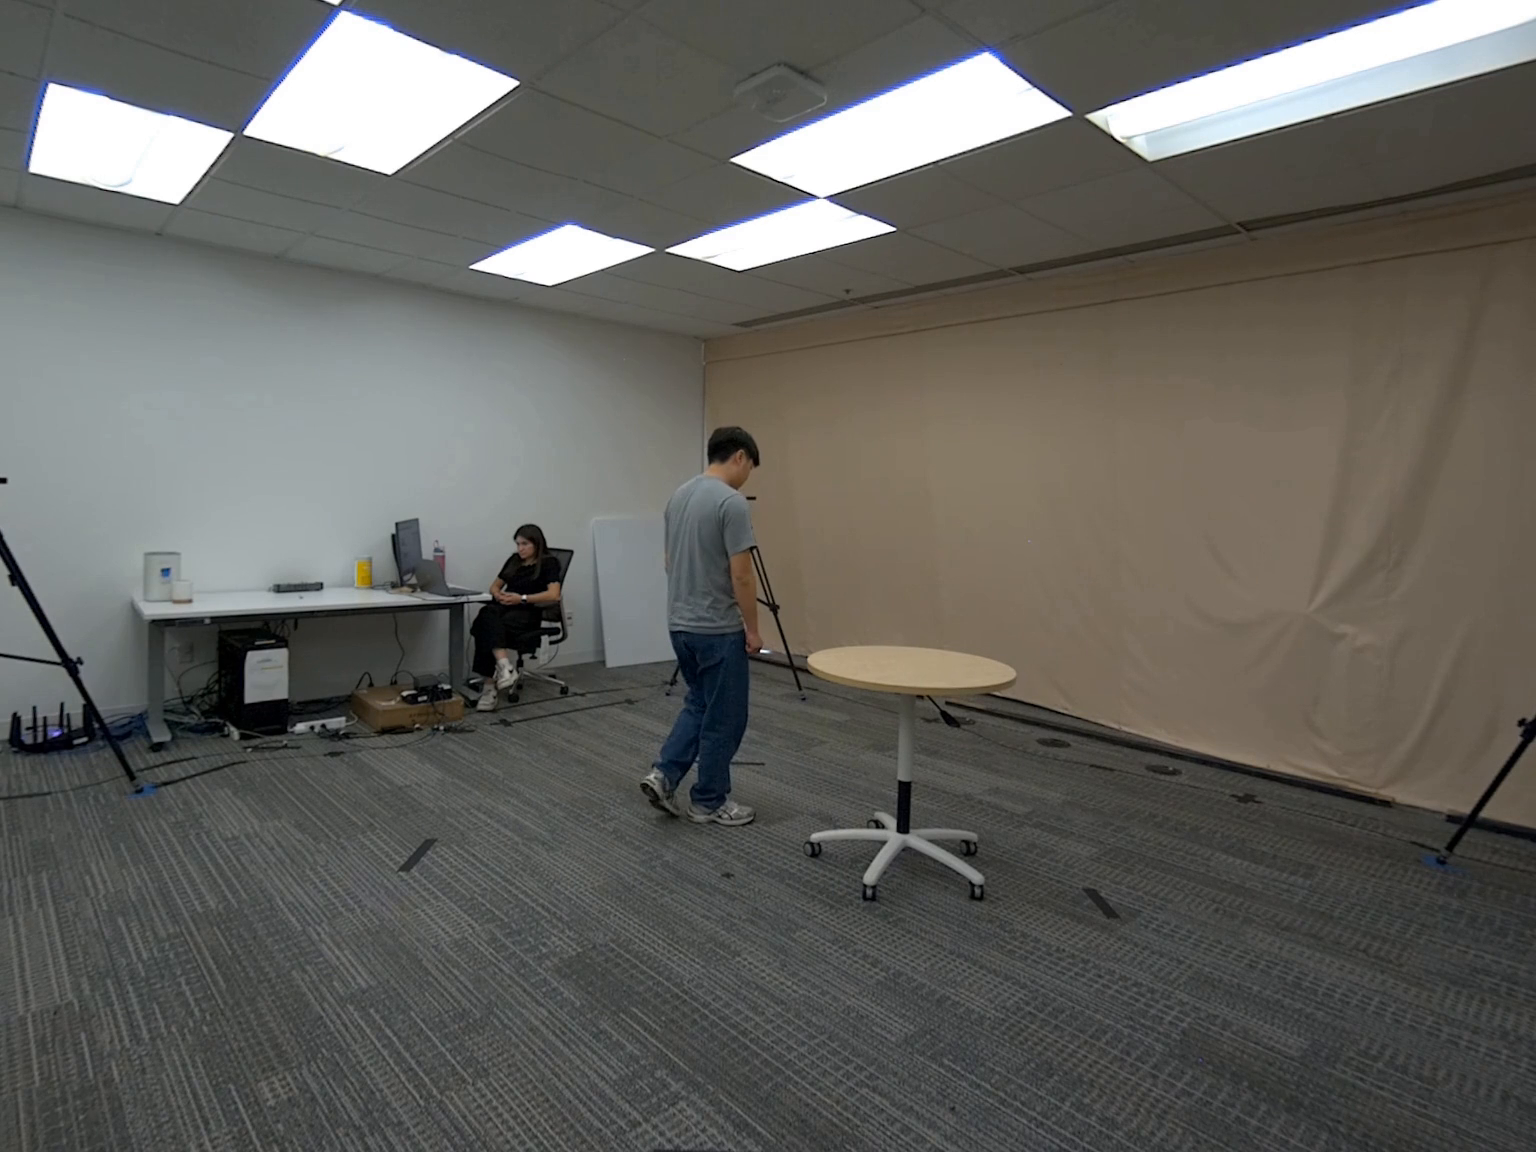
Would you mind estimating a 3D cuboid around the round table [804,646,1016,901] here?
[{"bbox_3d":[0.509,0.727,3.183,0.763,0.792,0.766,2,4,-1],"label":"round table"}]
